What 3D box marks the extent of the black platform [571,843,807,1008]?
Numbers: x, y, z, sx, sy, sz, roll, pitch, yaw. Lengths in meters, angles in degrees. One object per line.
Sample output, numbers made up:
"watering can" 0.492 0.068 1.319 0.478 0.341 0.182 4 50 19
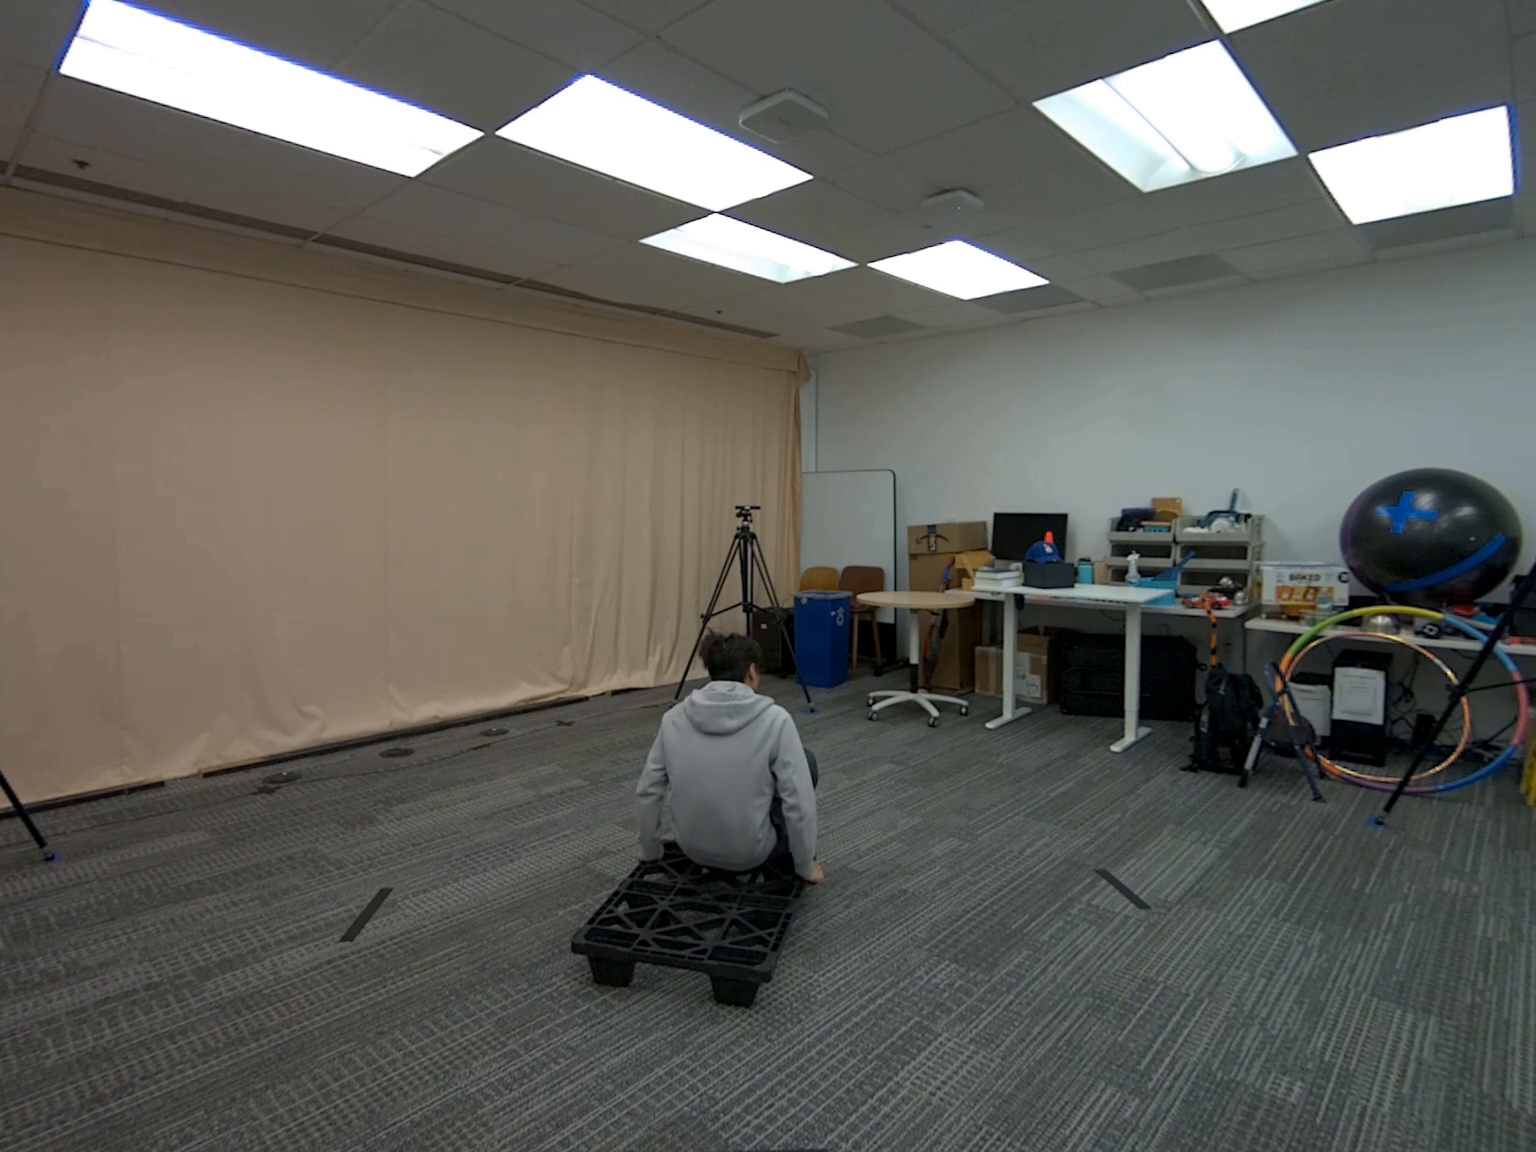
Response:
"black platform" -0.198 1.092 2.743 0.615 0.143 0.795 2 5 13
